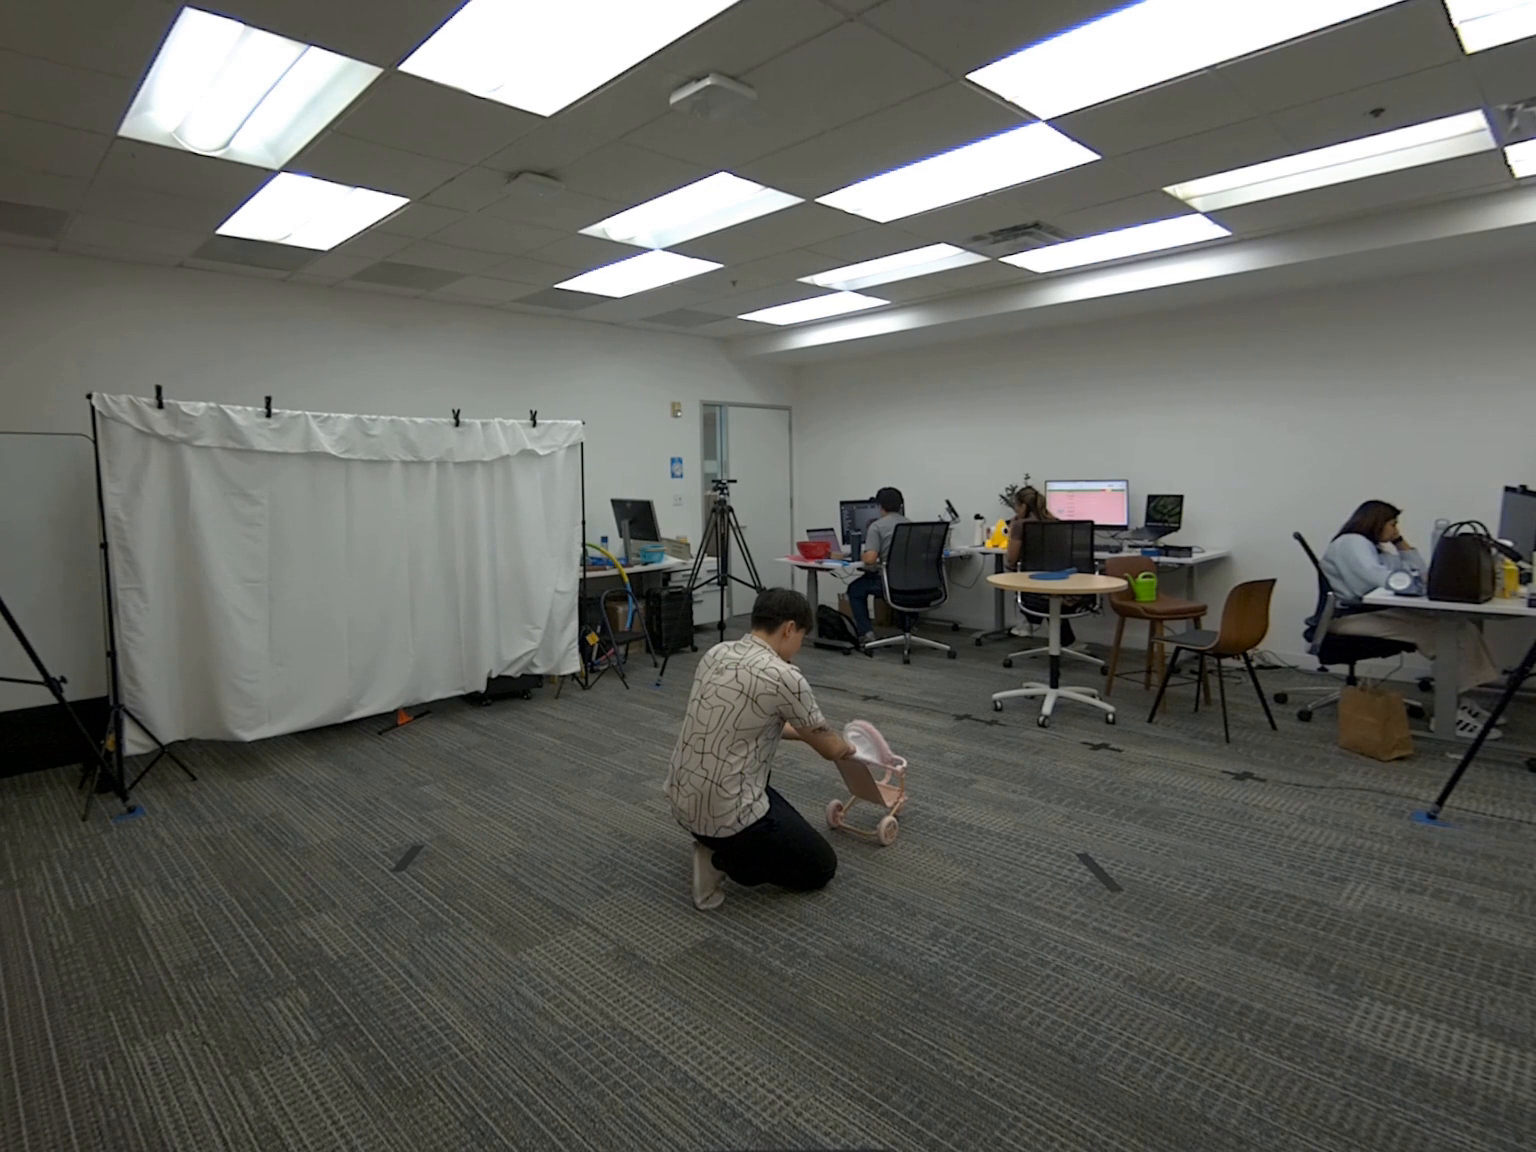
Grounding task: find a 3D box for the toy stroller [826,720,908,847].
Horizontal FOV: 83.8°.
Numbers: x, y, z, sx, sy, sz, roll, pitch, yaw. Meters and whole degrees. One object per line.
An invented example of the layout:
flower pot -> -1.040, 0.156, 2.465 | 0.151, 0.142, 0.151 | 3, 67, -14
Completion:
toy stroller -> 0.394, 0.788, 3.358 | 0.290, 0.524, 0.337 | 6, 29, 46
